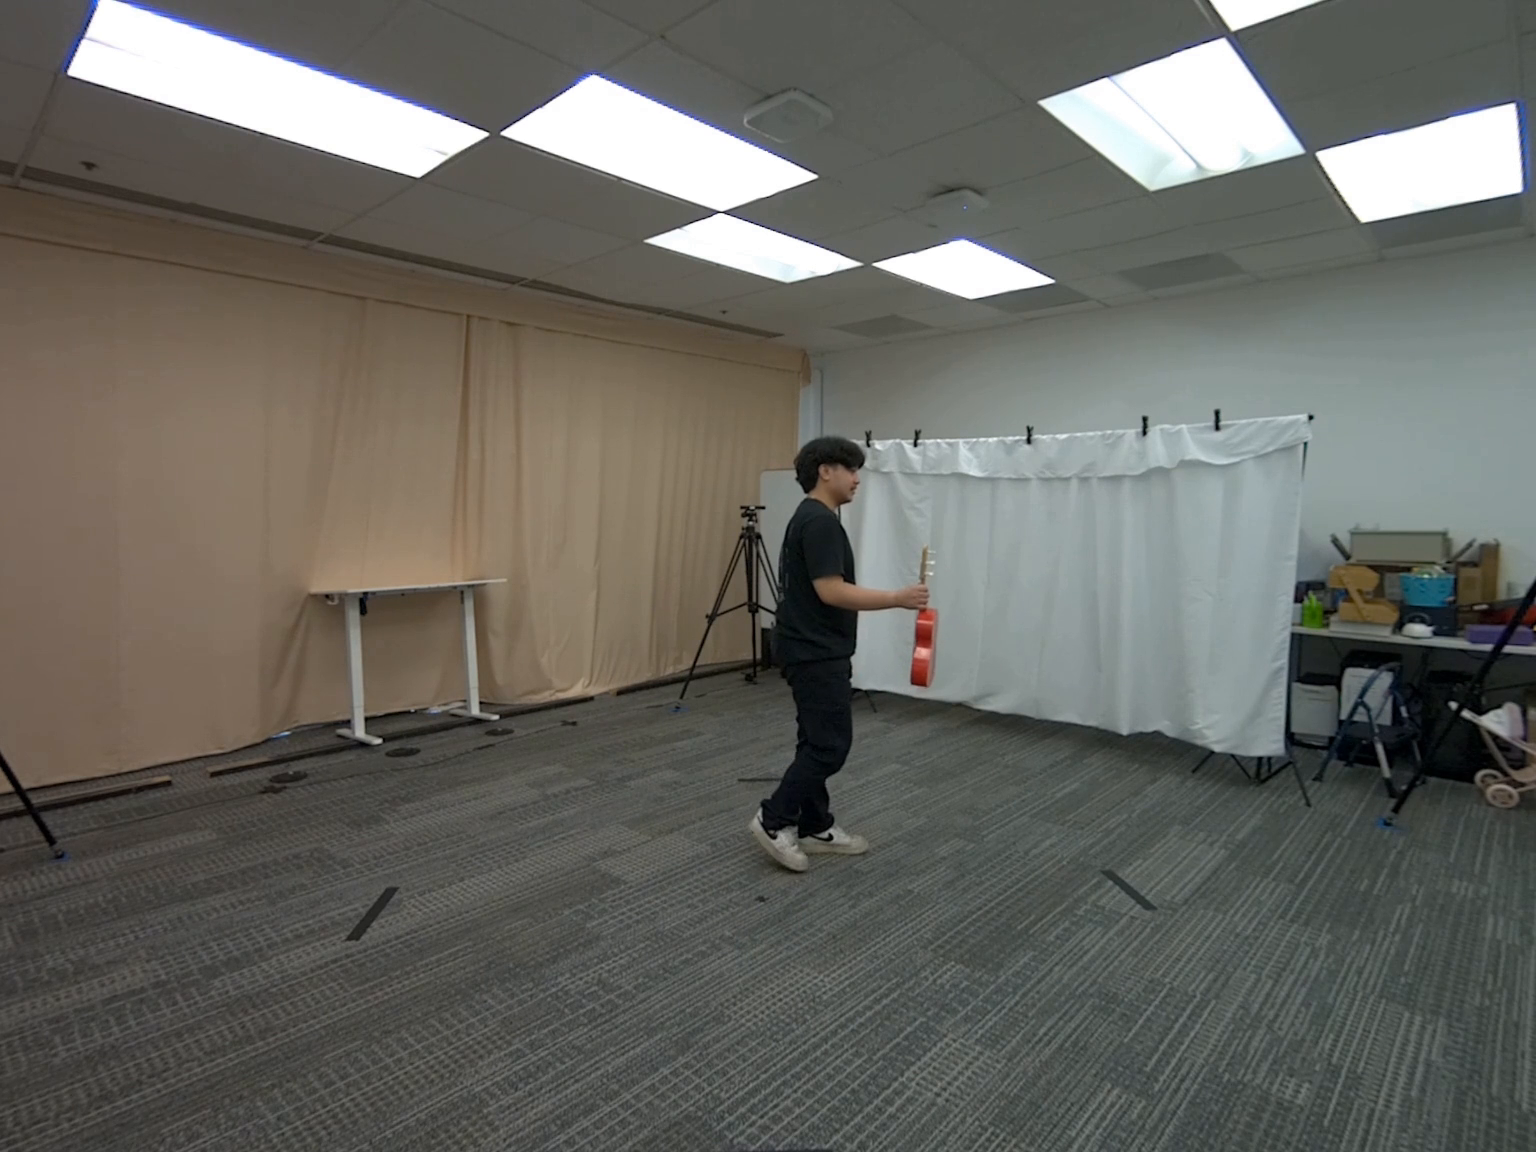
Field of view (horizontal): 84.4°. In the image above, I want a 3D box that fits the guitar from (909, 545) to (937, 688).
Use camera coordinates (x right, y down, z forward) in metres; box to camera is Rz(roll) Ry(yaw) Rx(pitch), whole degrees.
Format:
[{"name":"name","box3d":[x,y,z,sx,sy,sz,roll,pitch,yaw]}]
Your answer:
[{"name":"guitar","box3d":[0.559,0.157,2.958,0.072,0.493,0.191,7,16,17]}]
